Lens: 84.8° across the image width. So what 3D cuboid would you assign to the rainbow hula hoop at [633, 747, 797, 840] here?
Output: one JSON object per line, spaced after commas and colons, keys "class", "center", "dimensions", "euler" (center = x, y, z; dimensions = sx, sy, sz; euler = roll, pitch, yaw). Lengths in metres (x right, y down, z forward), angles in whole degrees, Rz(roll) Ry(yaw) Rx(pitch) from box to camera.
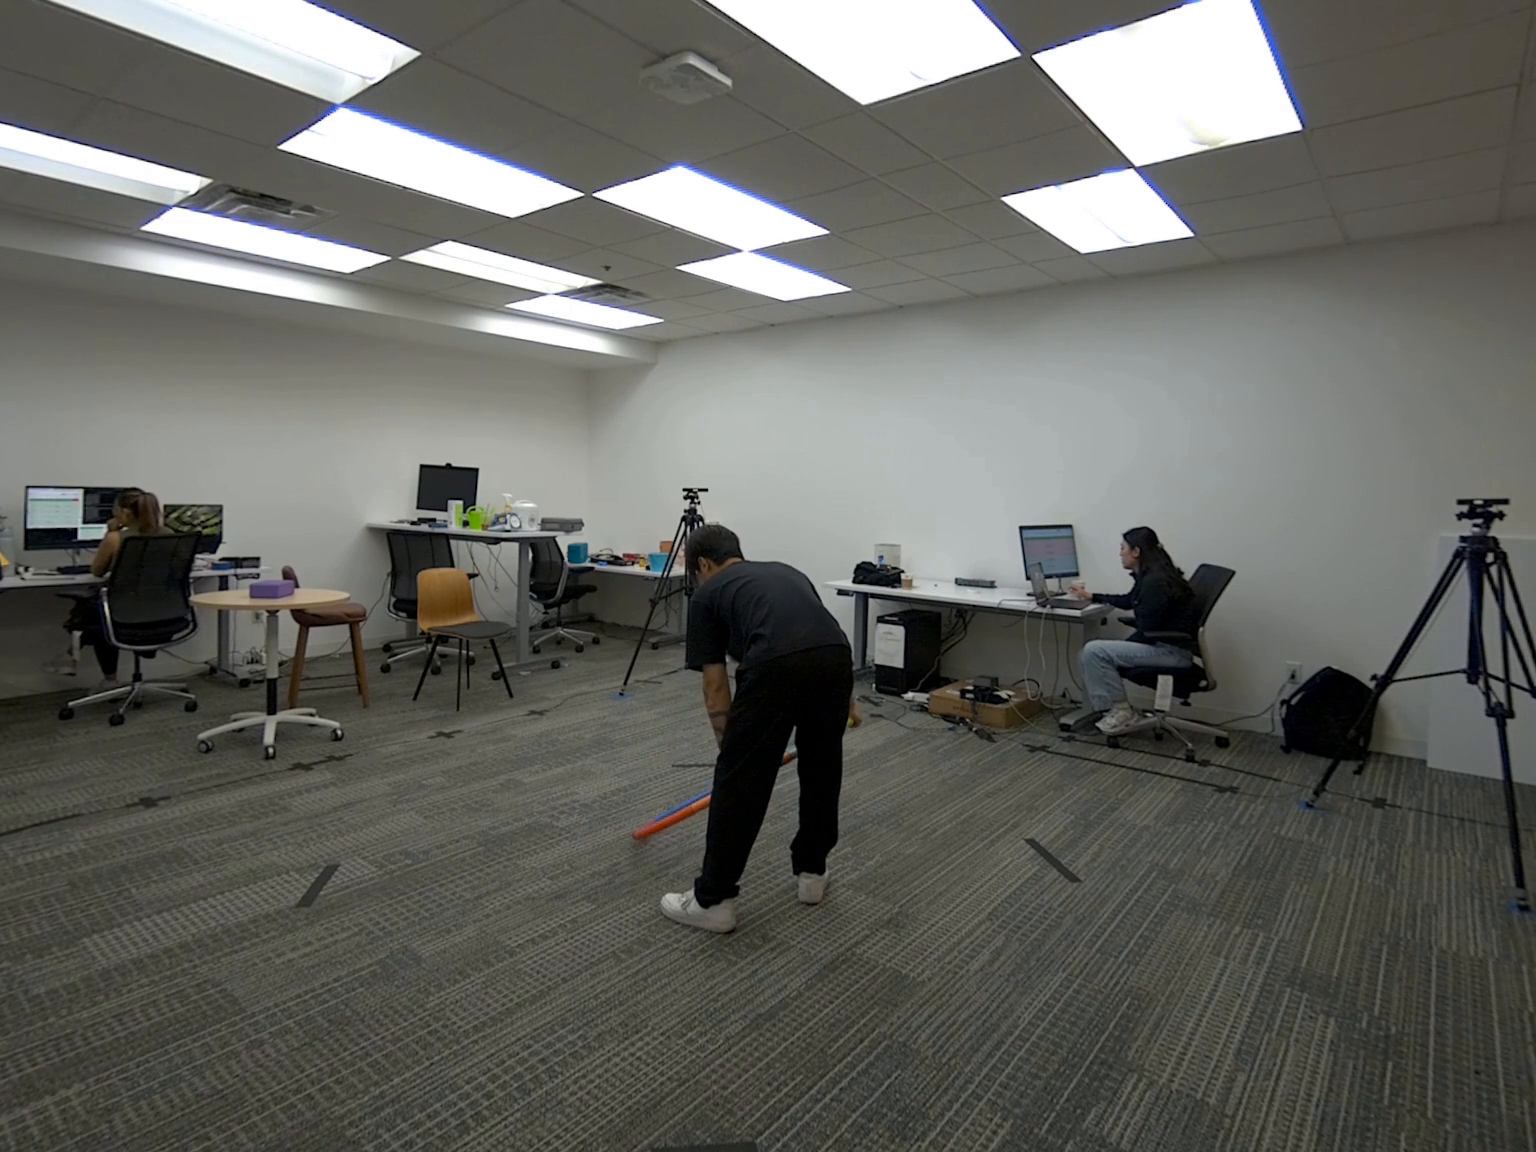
{"class": "rainbow hula hoop", "center": [-0.110, 0.784, 3.344], "dimensions": [0.974, 0.036, 0.967], "euler": [-26, -10, -8]}
